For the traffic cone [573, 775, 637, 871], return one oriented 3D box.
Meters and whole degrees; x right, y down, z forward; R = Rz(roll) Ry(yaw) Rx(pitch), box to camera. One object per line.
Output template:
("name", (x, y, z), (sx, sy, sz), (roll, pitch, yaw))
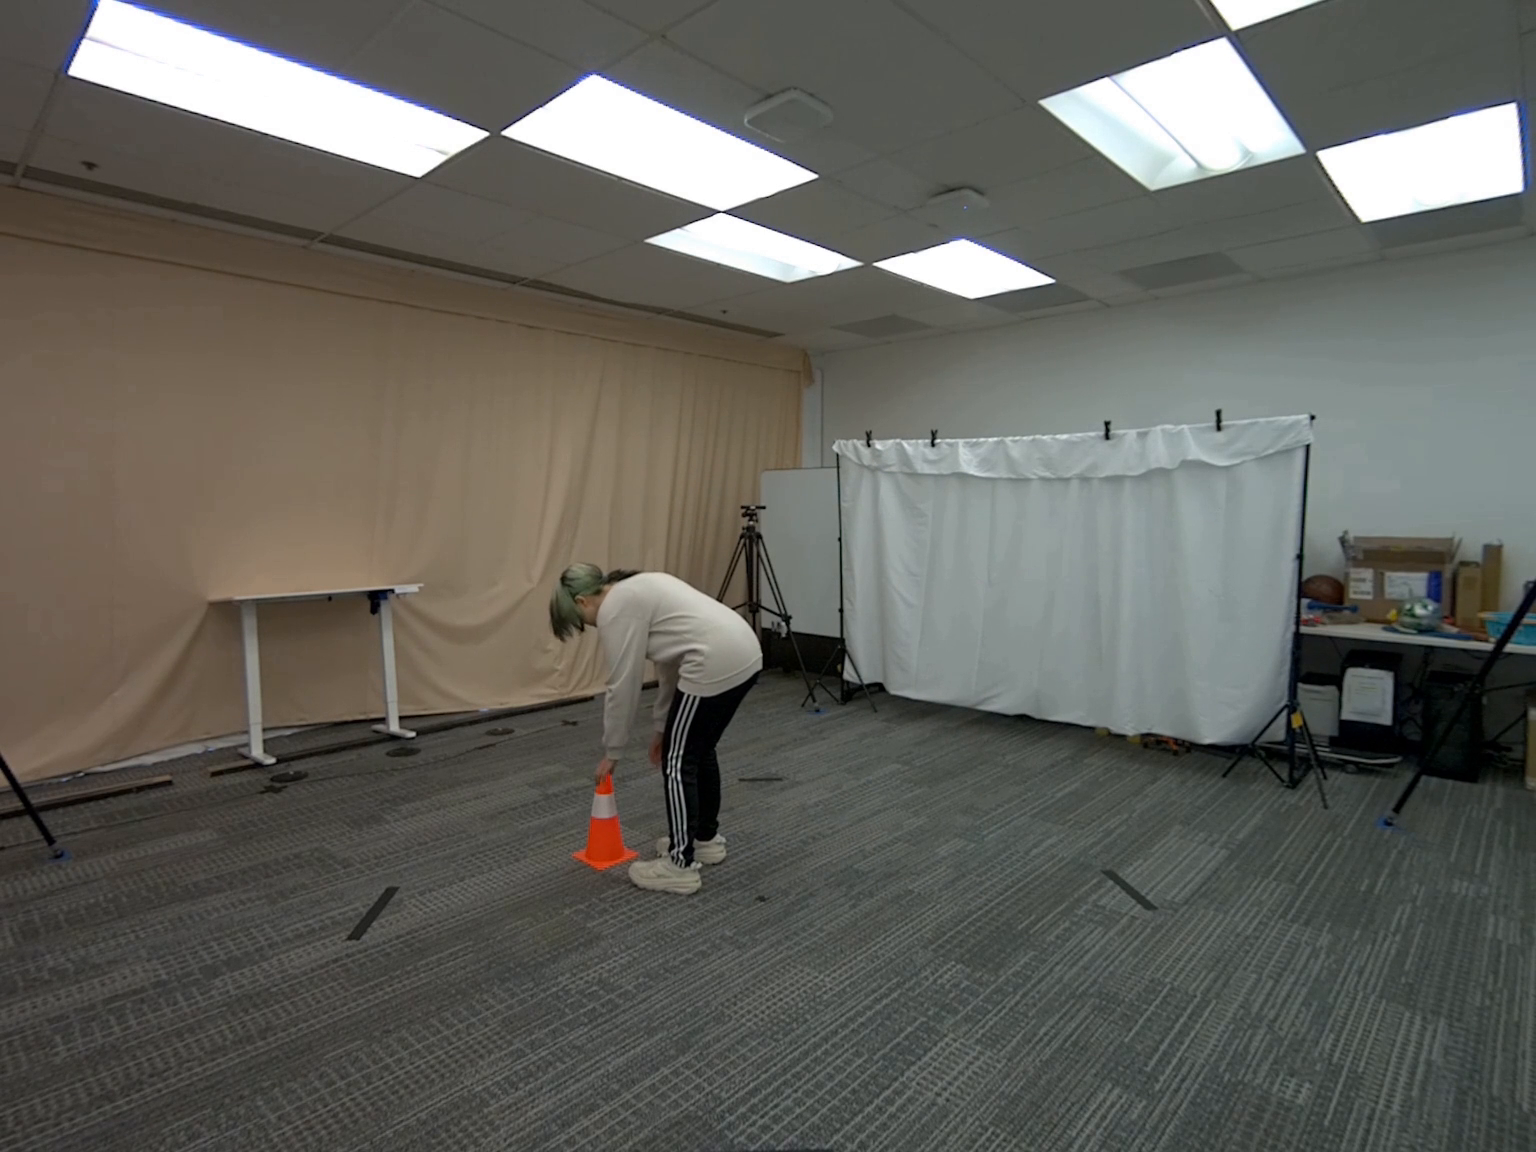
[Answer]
("traffic cone", (-0.650, 0.932, 3.364), (0.210, 0.383, 0.198), (5, 5, 44))
